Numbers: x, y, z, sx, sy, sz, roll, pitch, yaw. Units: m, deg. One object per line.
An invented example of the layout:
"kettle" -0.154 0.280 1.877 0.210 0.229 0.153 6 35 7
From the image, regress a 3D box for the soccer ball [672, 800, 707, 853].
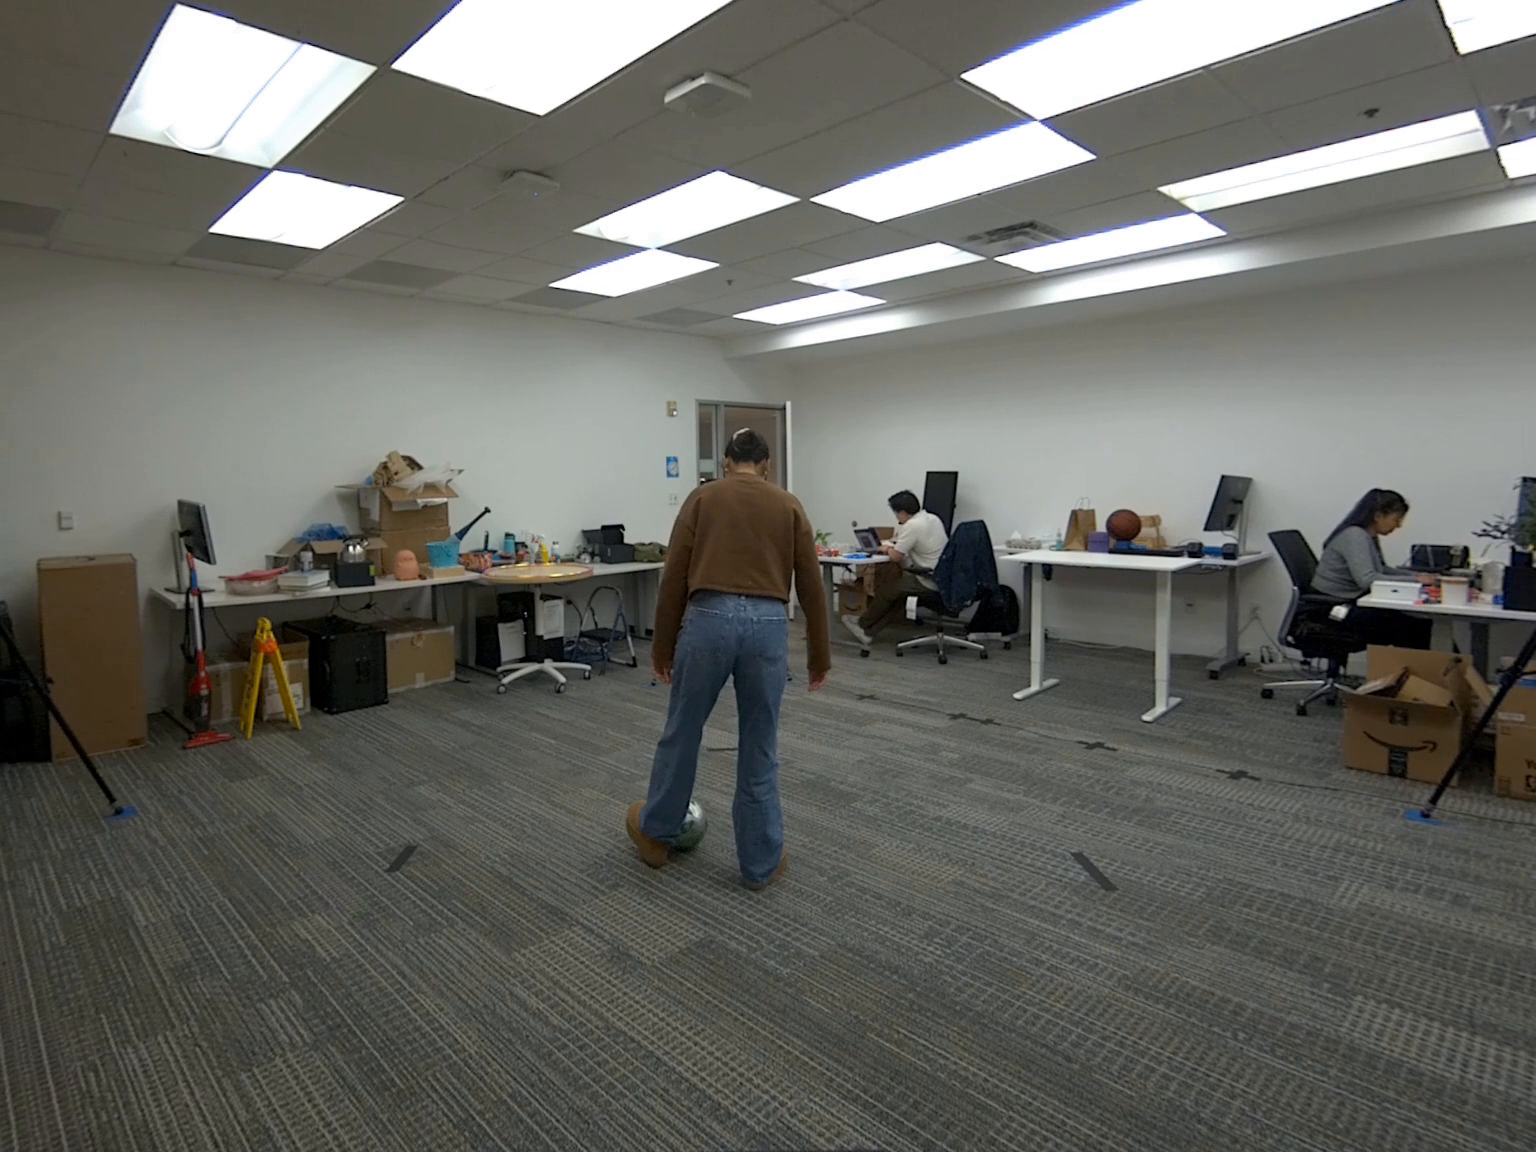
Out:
"soccer ball" -0.313 0.938 3.237 0.187 0.187 0.188 -1 5 -2
